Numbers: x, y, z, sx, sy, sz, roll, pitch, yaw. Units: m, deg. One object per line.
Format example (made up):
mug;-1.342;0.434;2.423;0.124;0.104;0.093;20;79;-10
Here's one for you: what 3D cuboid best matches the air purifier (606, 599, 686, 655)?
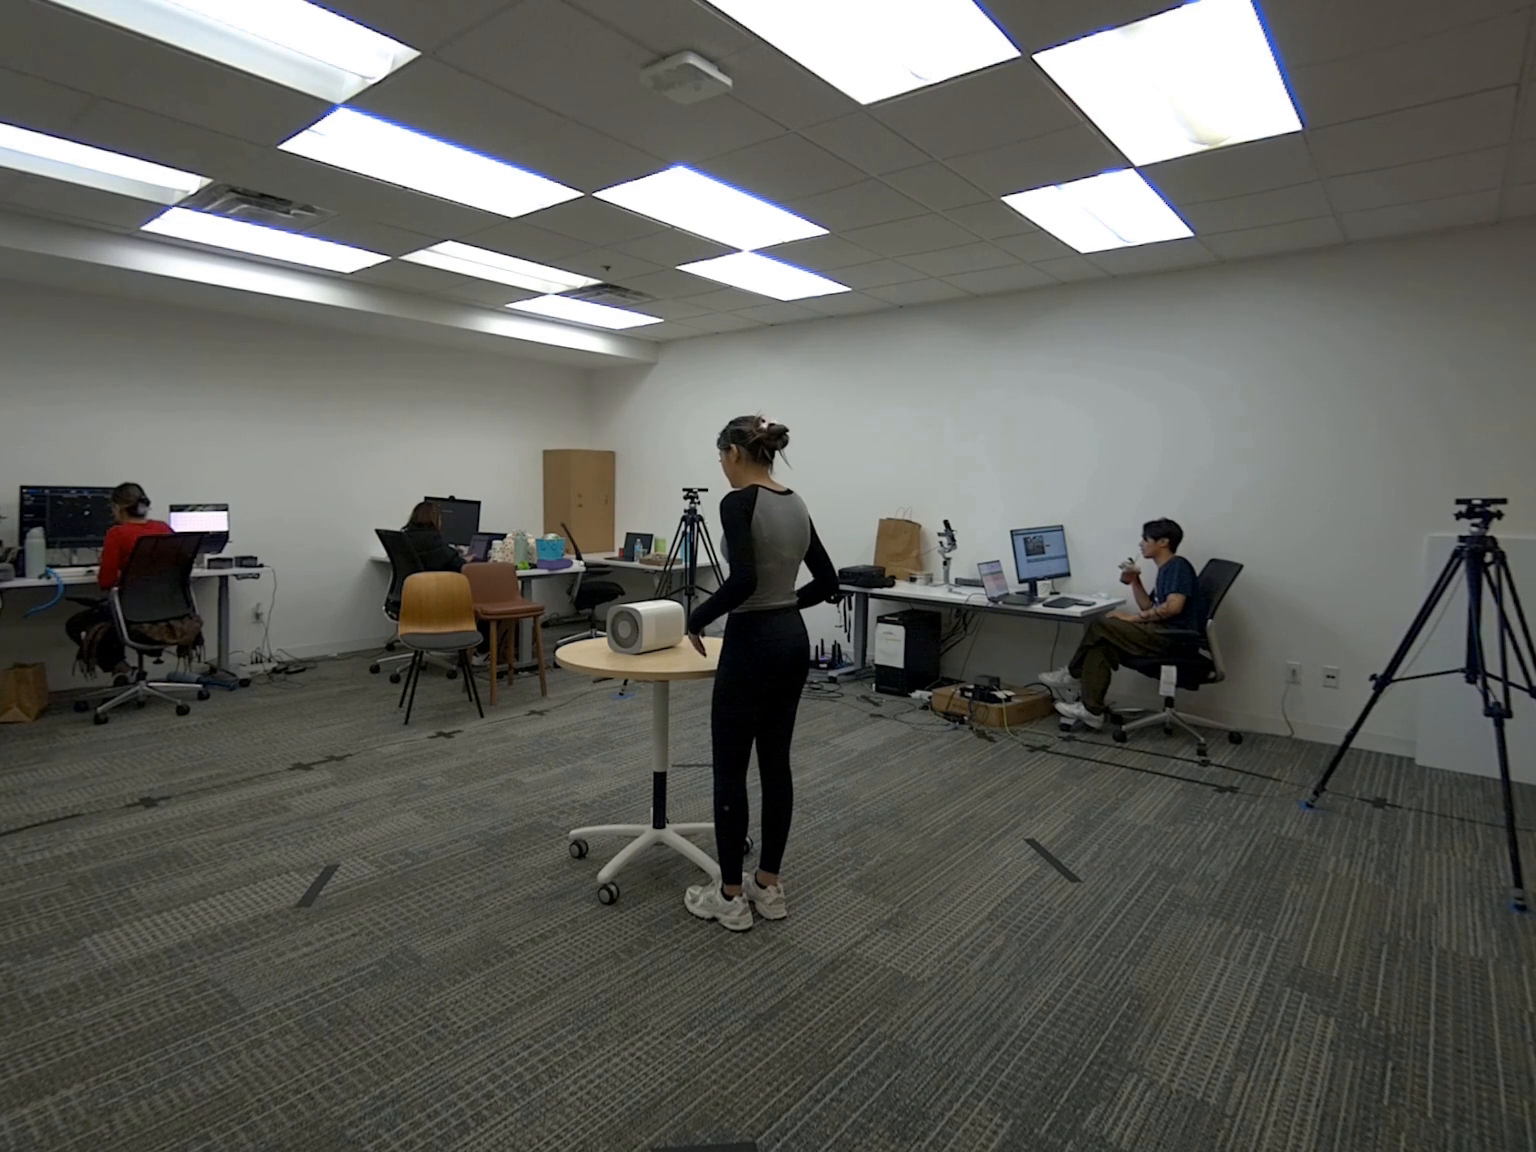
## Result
air purifier;-0.454;0.180;3.156;0.176;0.171;0.258;2;4;34
